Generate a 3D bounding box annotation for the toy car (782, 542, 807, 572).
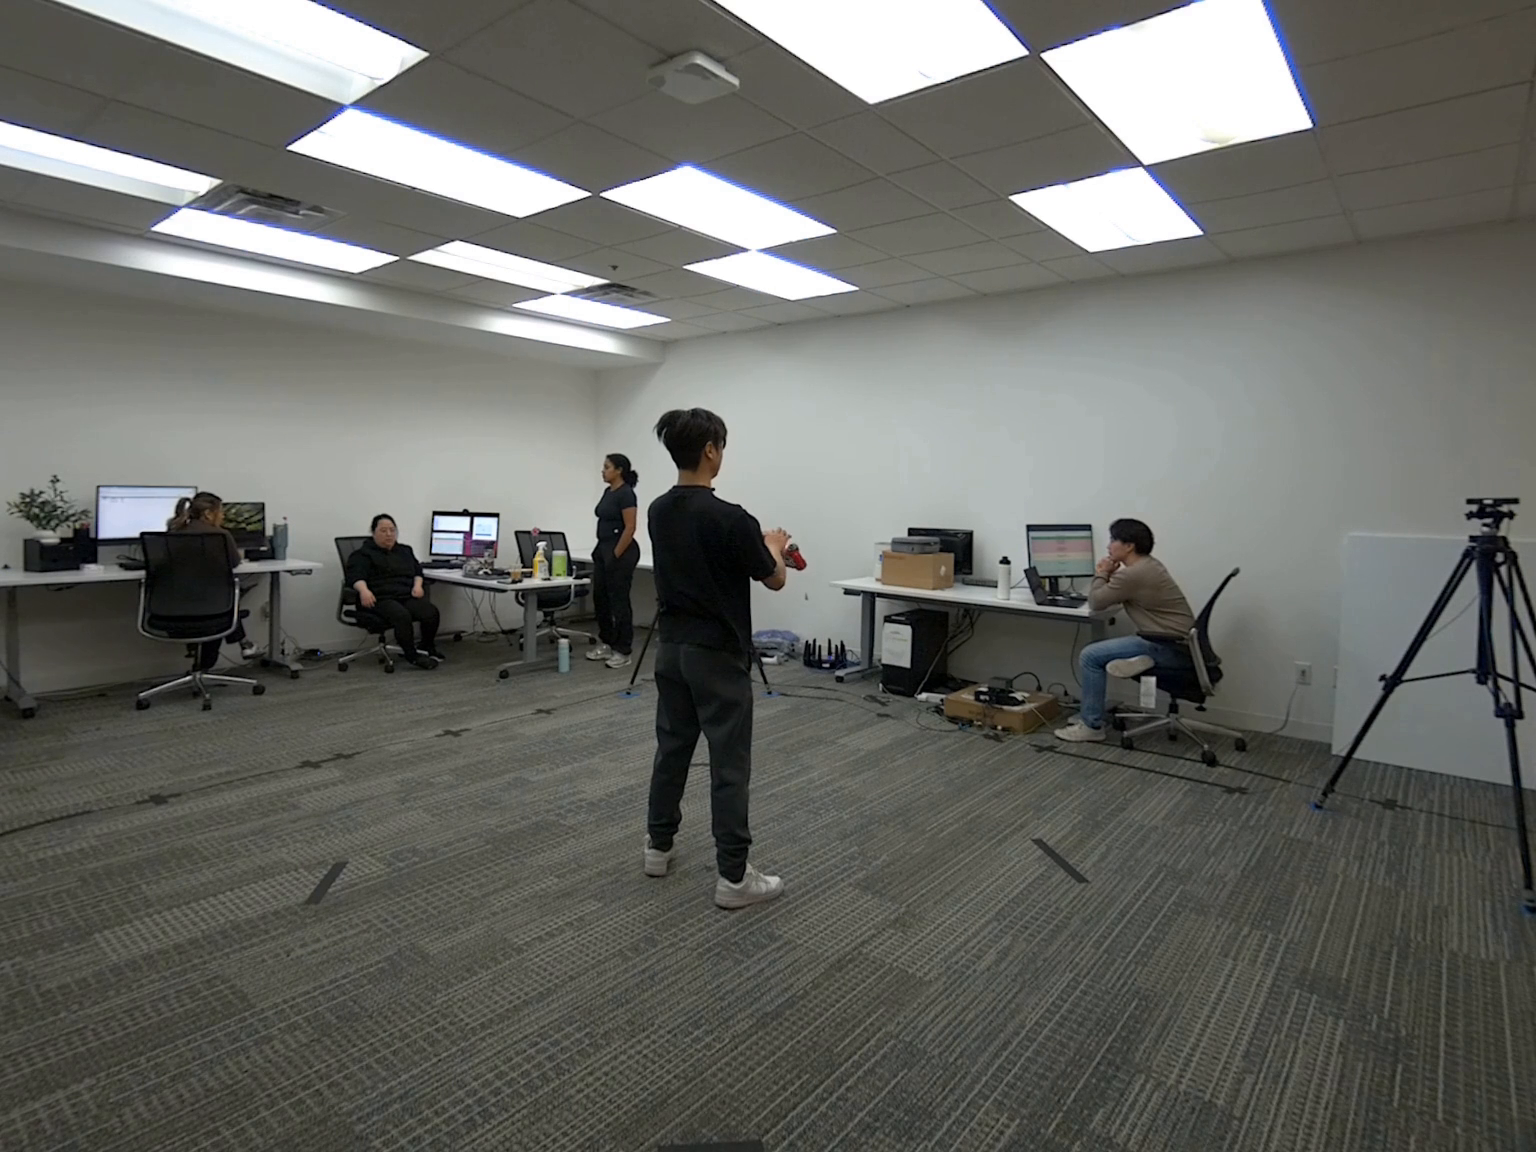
[{"bbox_3d":[0.024,-0.094,3.348,0.263,0.084,0.125,6,-37,35],"label":"toy car"}]
